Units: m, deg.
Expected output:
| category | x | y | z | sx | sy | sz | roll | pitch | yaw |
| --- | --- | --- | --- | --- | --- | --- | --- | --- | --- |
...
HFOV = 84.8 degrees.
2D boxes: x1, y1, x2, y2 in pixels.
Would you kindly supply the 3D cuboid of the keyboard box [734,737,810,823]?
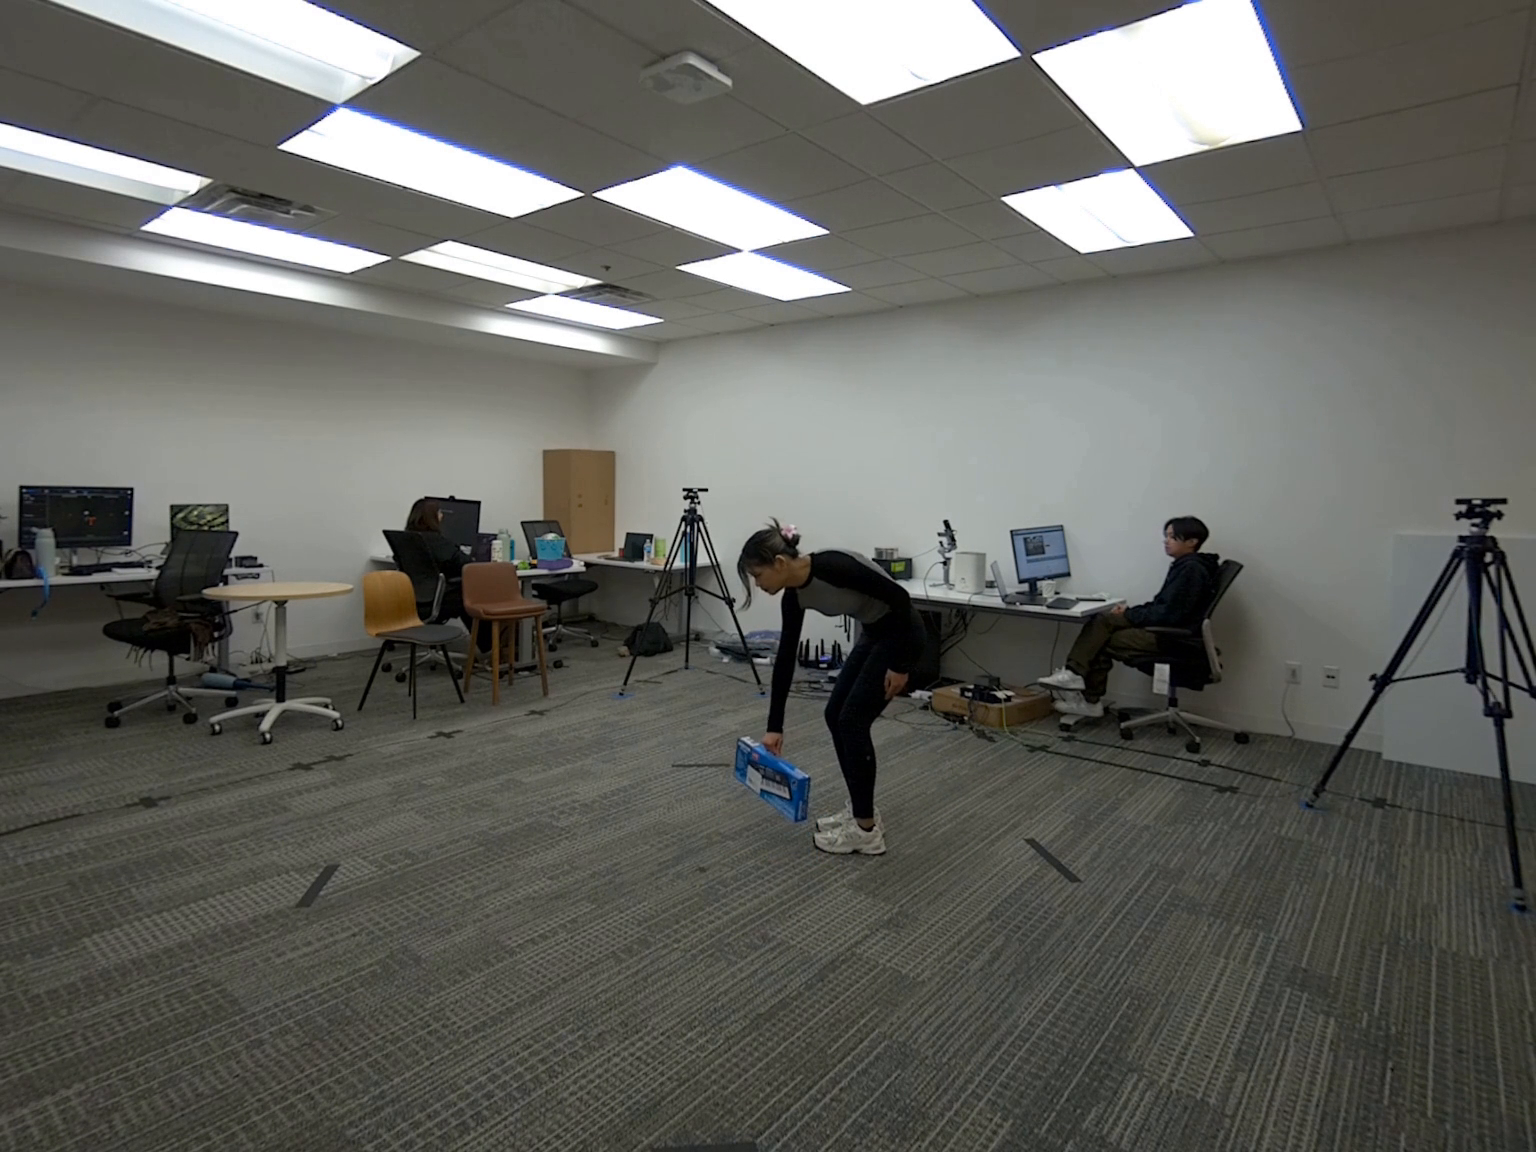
| category | x | y | z | sx | sy | sz | roll | pitch | yaw |
| --- | --- | --- | --- | --- | --- | --- | --- | --- | --- |
| keyboard box | 0.004 | 0.793 | 3.372 | 0.057 | 0.175 | 0.453 | 1 | 10 | -34 |
